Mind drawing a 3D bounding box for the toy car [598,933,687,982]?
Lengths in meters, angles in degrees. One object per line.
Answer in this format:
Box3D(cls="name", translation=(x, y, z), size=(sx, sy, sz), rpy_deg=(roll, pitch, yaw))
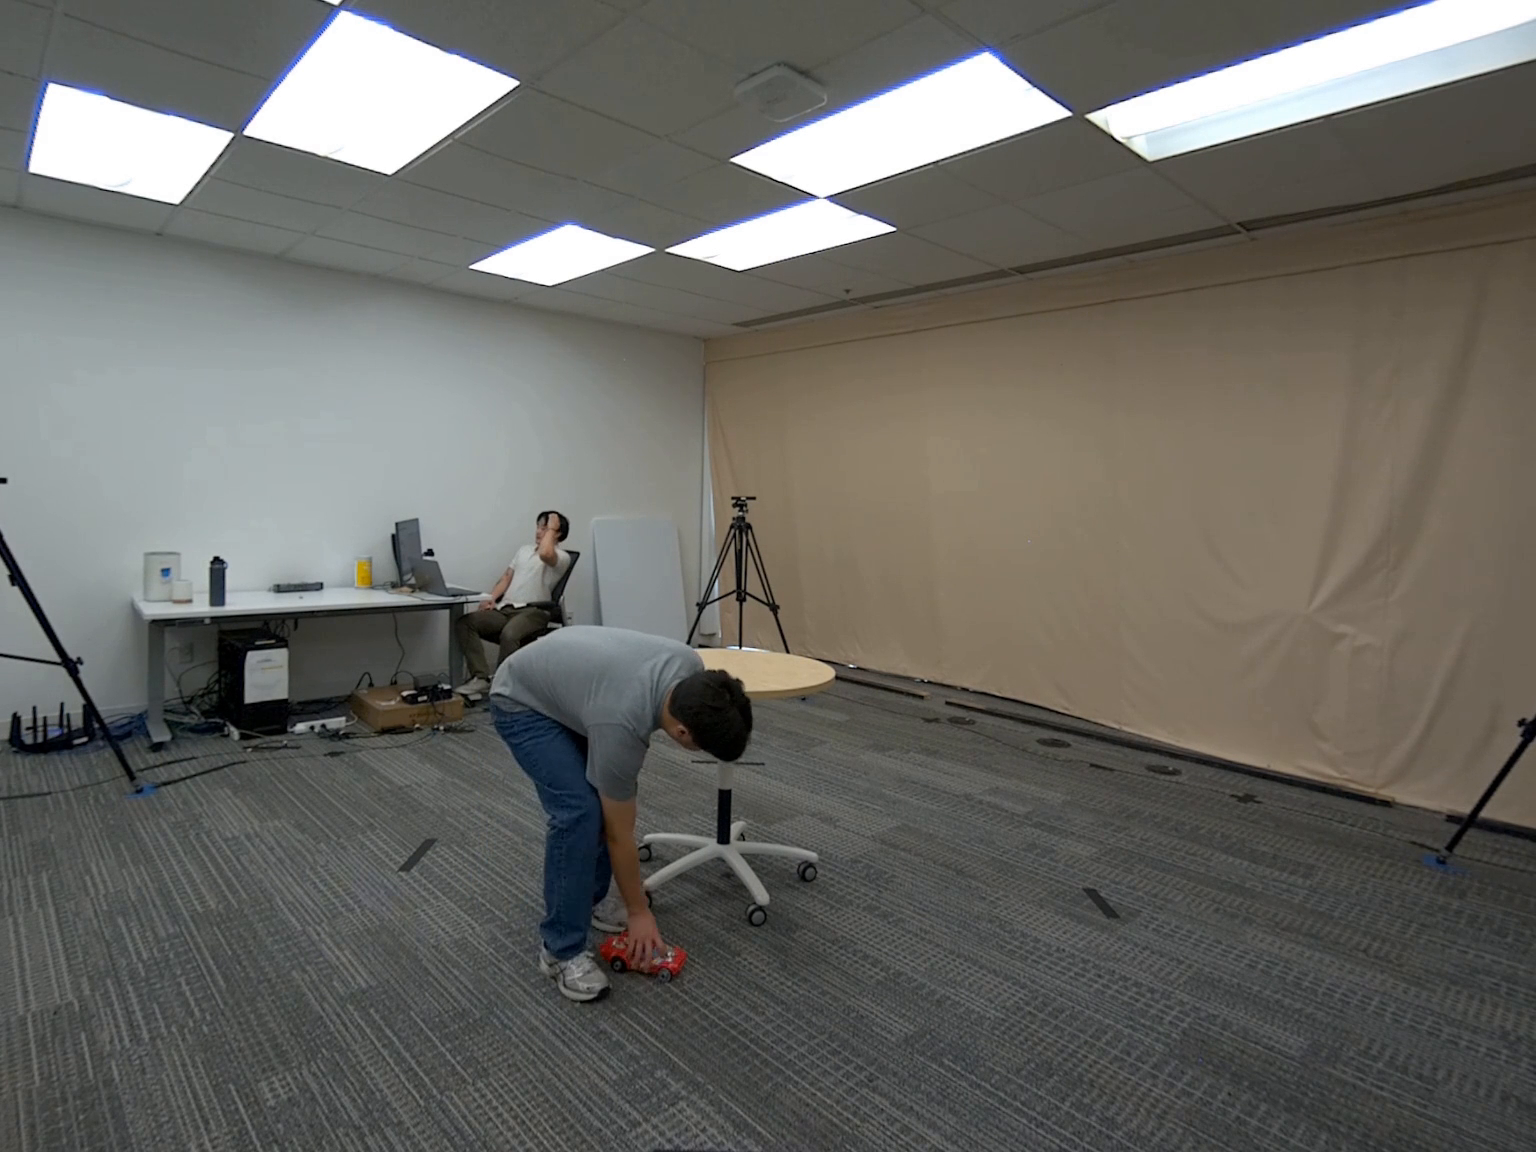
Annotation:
Box3D(cls="toy car", translation=(-0.381, 1.129, 2.479), size=(0.258, 0.083, 0.129), rpy_deg=(13, 8, 15))
